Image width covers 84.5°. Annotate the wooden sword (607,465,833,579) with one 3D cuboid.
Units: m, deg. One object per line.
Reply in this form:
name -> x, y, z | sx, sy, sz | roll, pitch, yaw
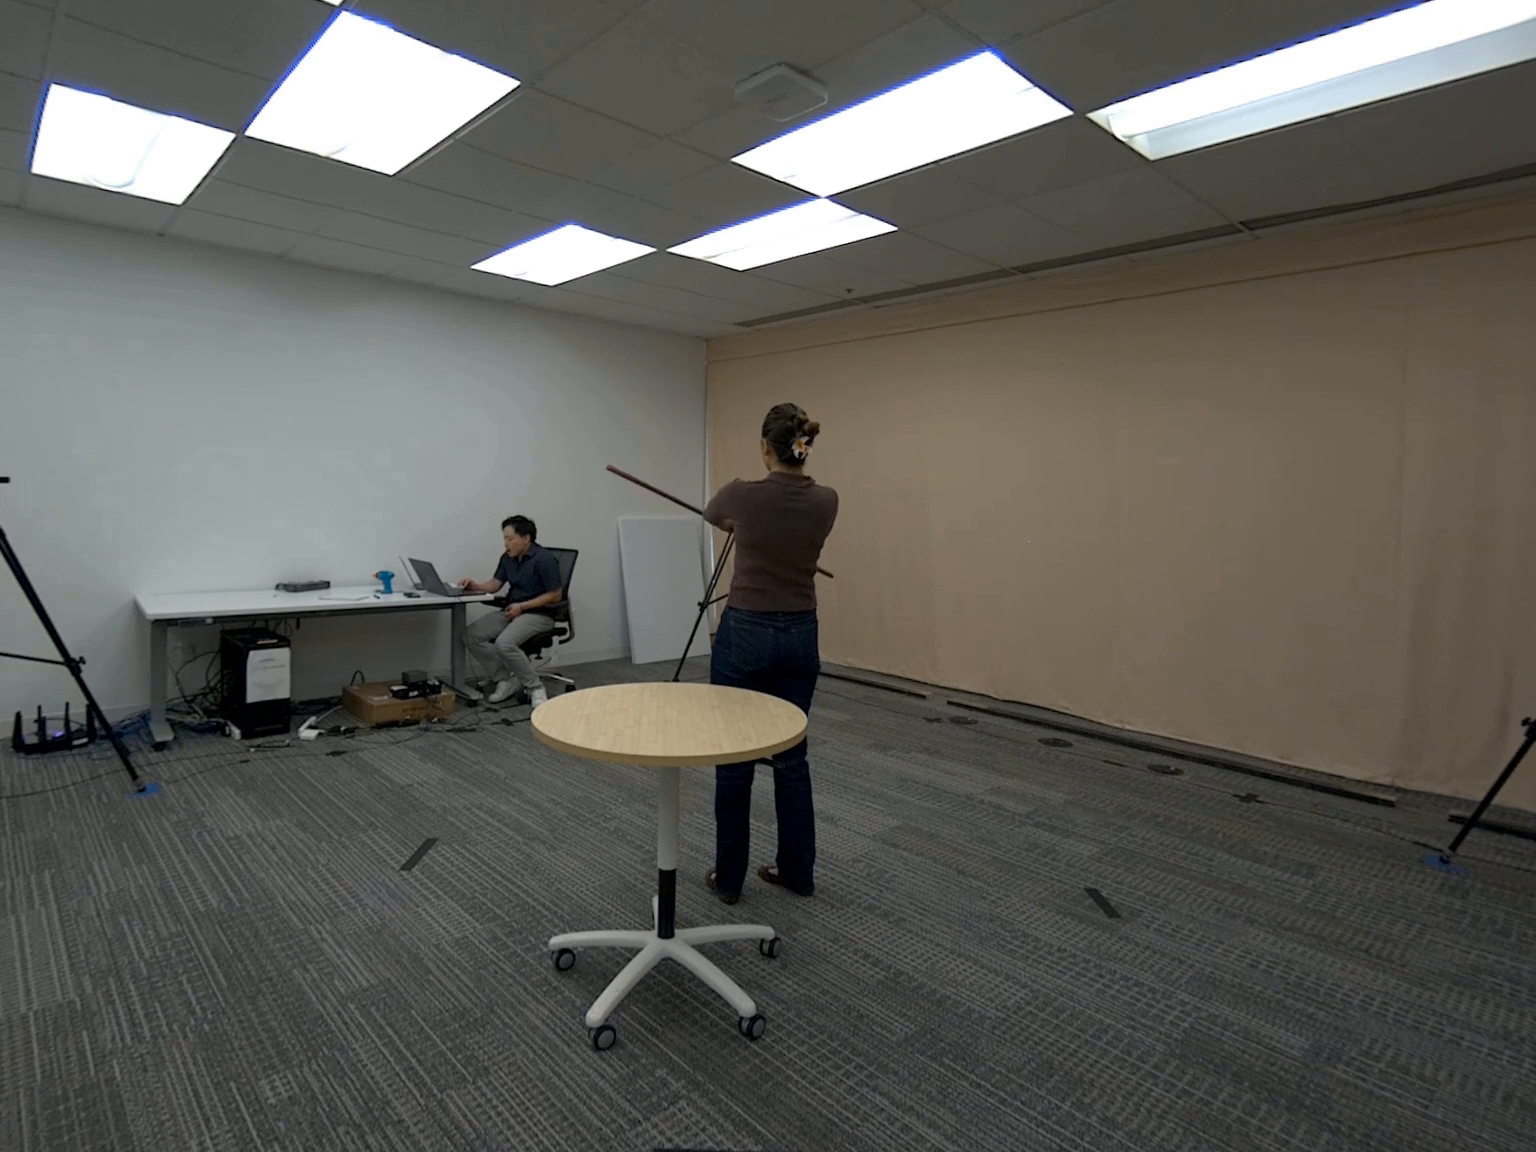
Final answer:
wooden sword -> -0.209, -0.209, 3.425 | 1.029, 0.051, 0.024 | 28, -28, 4
